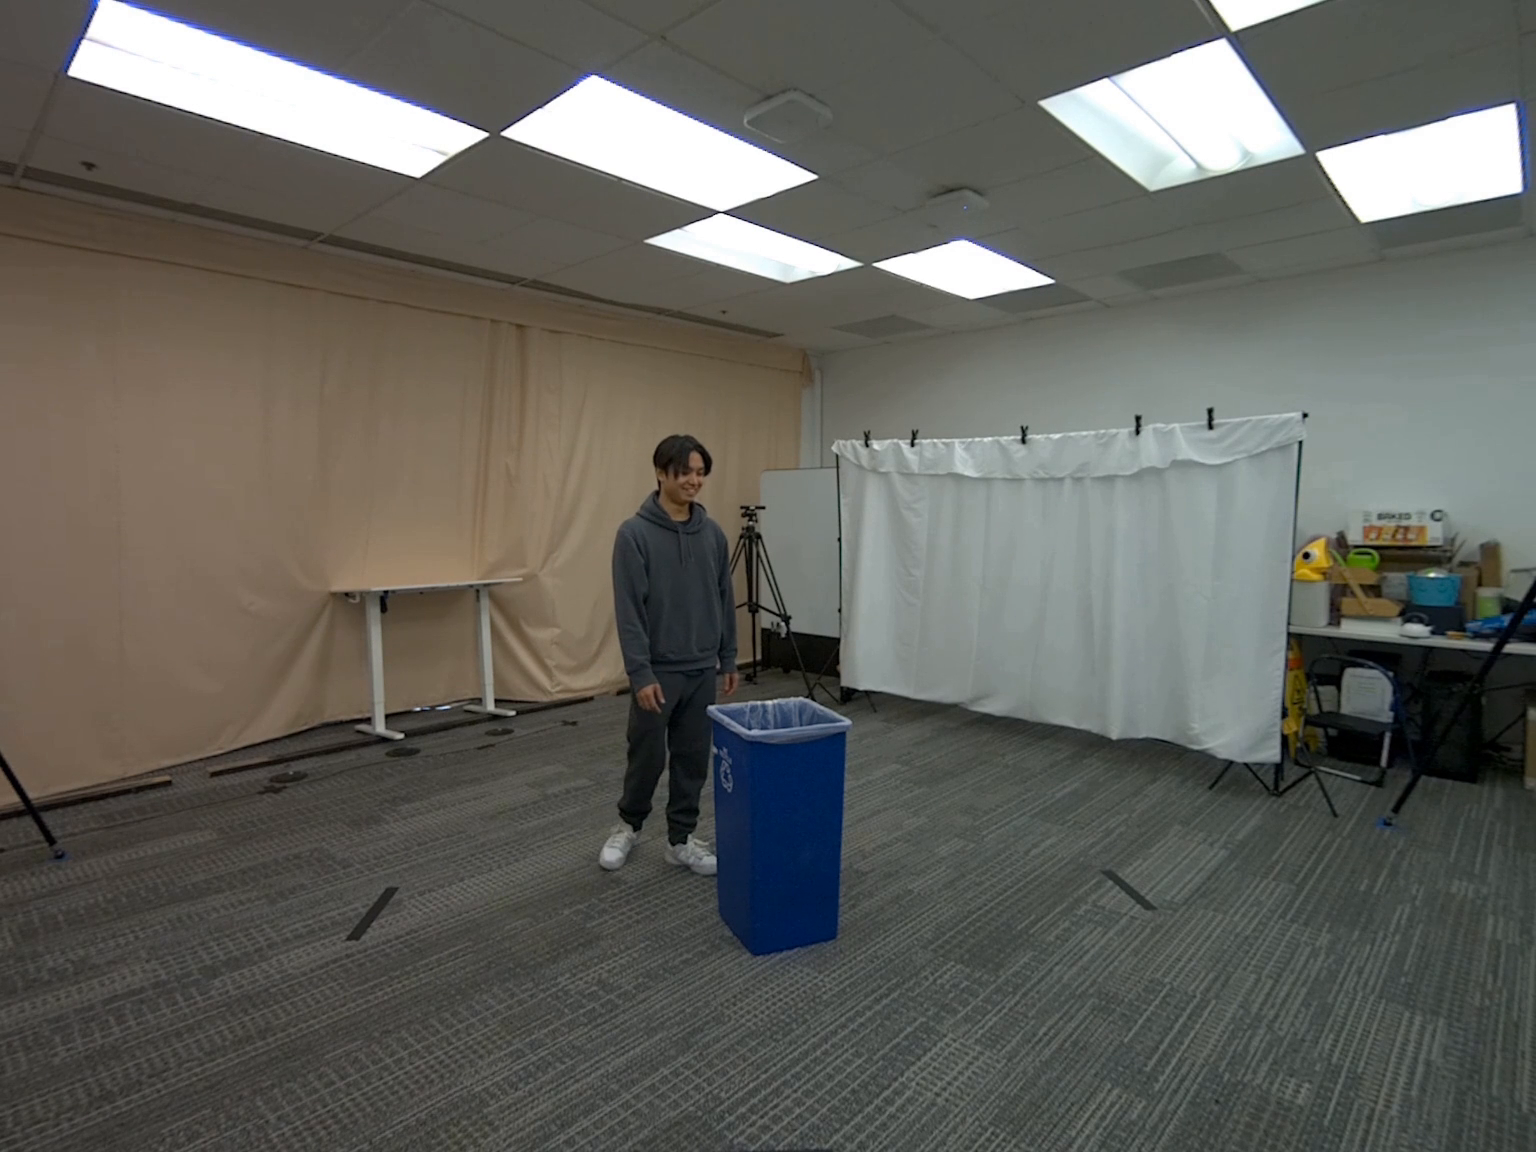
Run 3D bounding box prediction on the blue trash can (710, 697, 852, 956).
[{"bbox_3d":[0.039,0.805,2.766,0.369,0.712,0.383,-2,4,-24],"label":"blue trash can"}]
